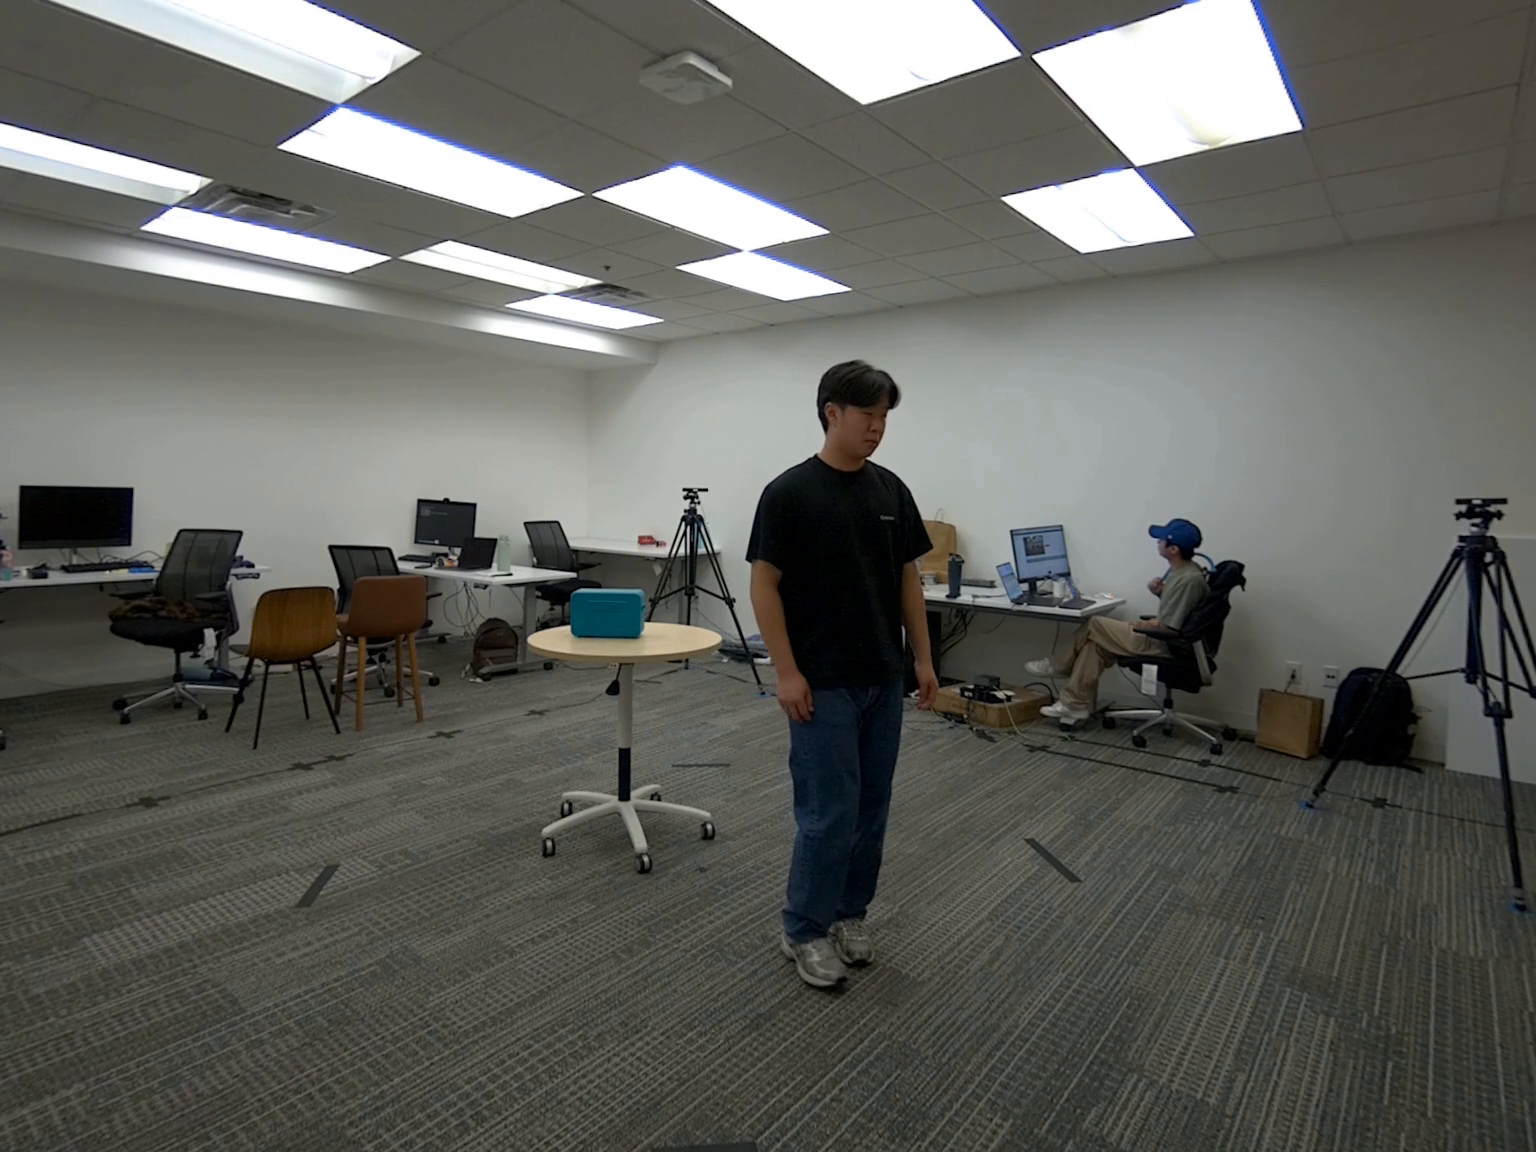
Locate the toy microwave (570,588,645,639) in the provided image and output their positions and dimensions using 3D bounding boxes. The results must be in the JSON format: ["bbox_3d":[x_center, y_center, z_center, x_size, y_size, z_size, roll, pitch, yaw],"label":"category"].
[{"bbox_3d":[-0.654,0.139,3.411,0.287,0.183,0.152,2,4,2],"label":"toy microwave"}]
